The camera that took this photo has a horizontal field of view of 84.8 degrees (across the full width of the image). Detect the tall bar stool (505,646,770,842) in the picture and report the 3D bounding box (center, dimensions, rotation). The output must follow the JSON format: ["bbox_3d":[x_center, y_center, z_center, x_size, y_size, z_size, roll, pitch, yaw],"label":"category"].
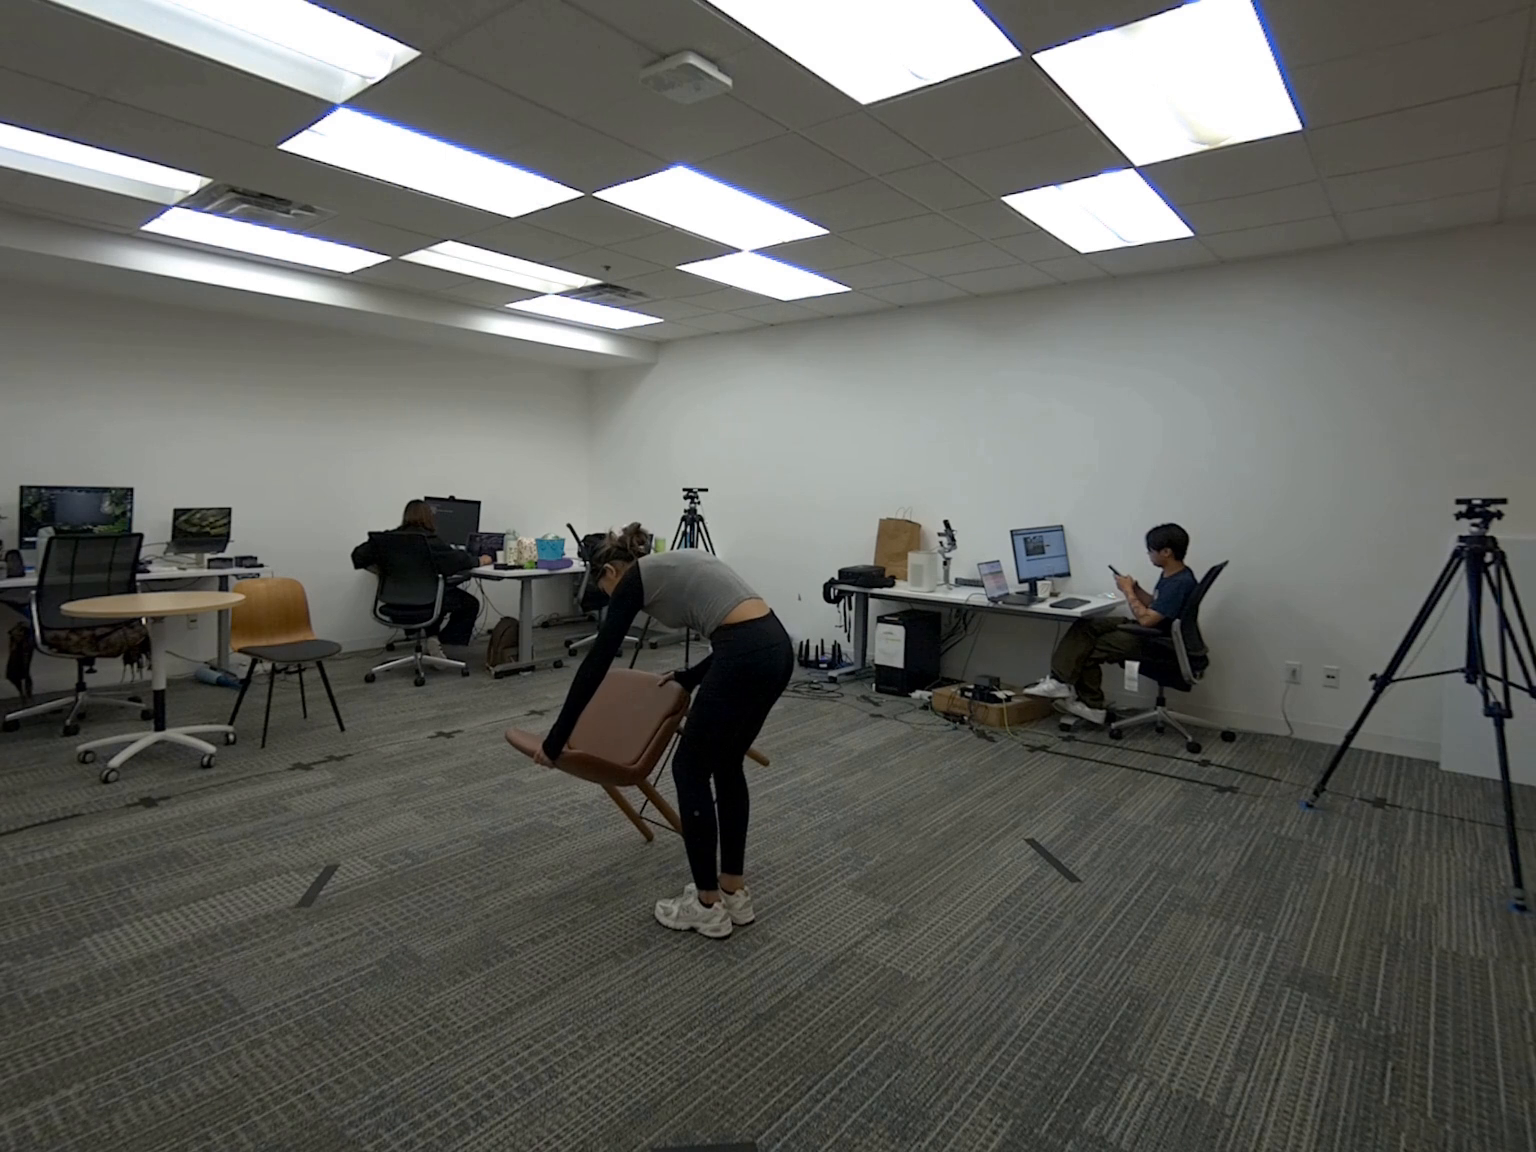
[{"bbox_3d":[-0.467,0.628,3.084,0.472,0.471,0.854,4,-34,43],"label":"tall bar stool"}]
